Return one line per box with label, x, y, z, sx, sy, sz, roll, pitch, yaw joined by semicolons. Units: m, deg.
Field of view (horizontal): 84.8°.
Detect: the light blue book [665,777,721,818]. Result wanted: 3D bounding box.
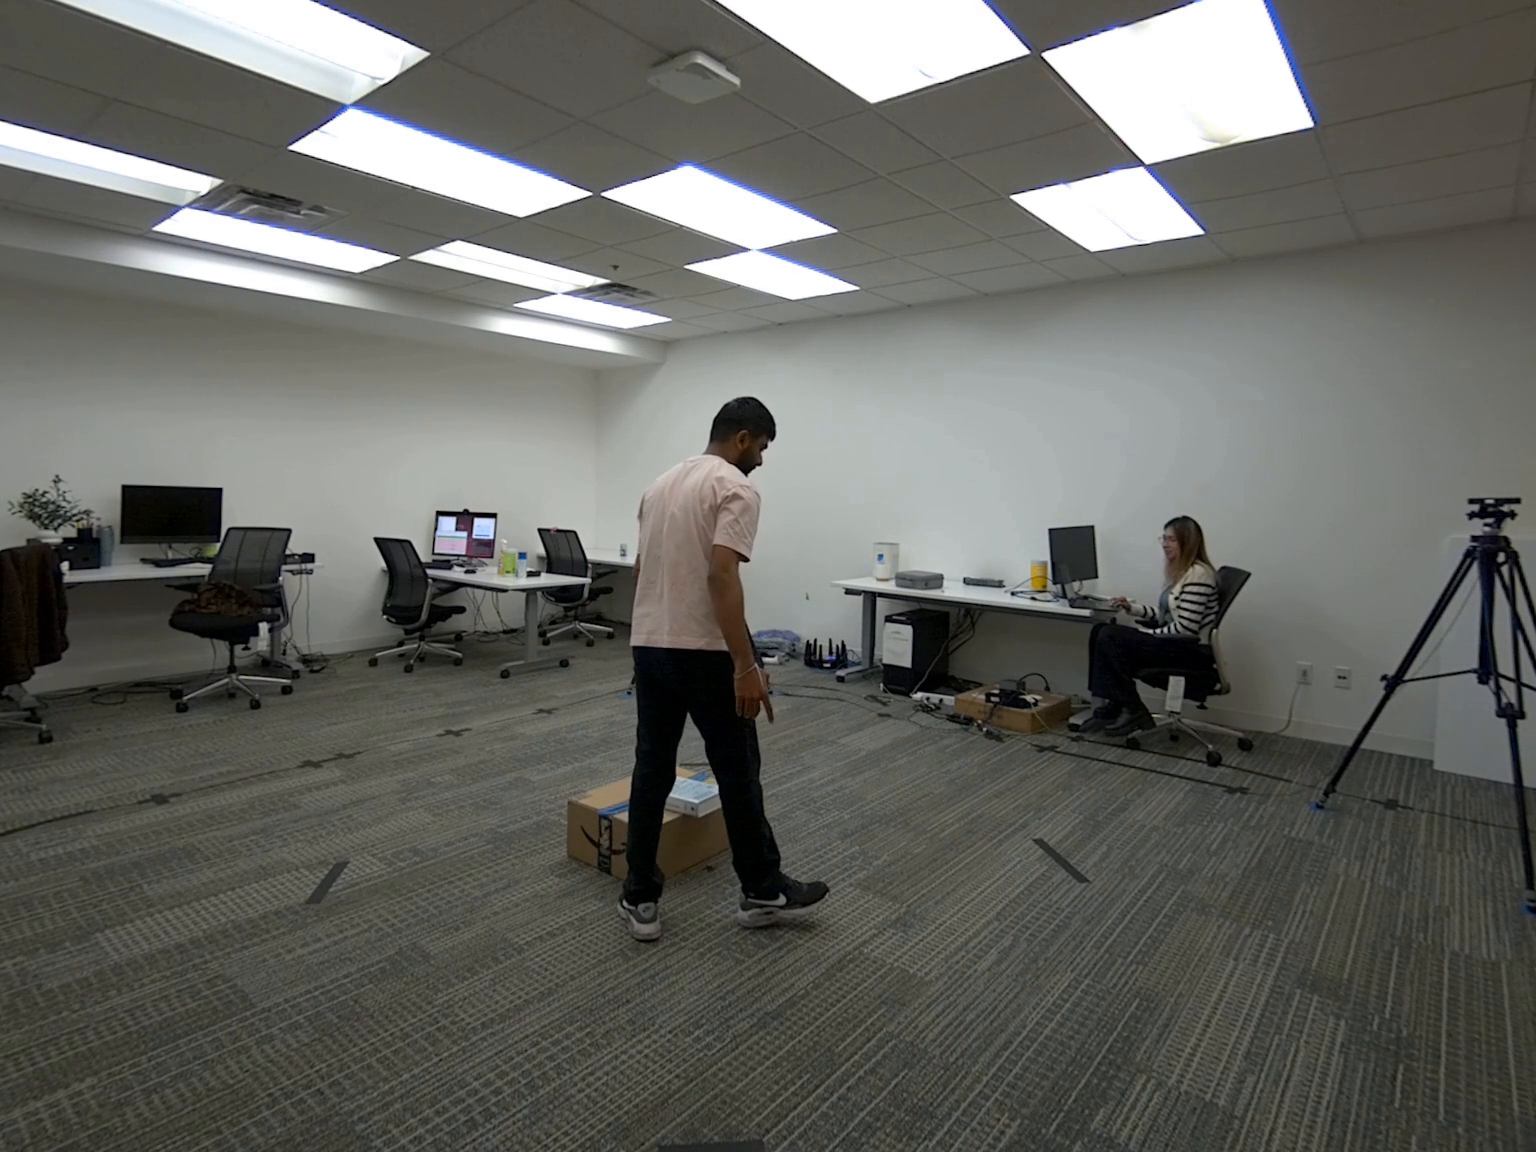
light blue book;-0.316;0.815;3.168;0.269;0.059;0.186;3;5;34
